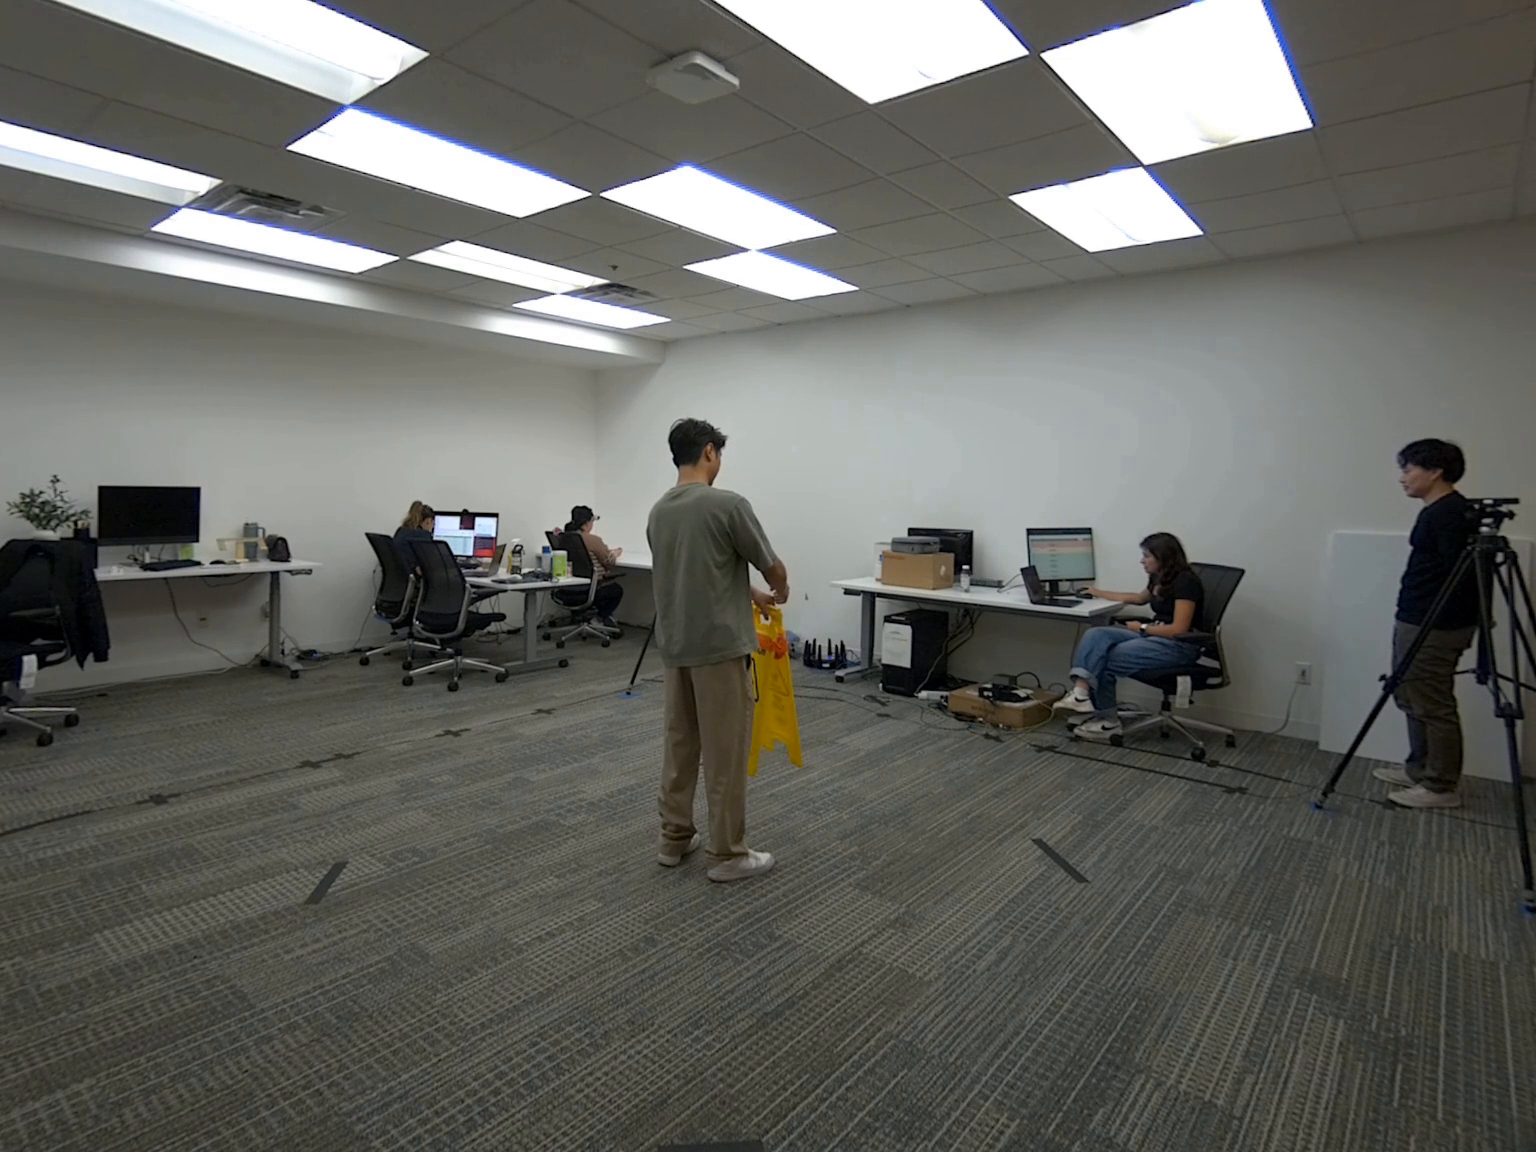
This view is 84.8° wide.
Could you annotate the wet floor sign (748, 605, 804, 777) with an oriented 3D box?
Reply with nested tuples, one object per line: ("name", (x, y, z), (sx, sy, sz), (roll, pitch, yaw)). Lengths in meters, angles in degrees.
("wet floor sign", (-0.037, 0.438, 3.425), (0.281, 0.643, 0.292), (-1, 5, -35))
